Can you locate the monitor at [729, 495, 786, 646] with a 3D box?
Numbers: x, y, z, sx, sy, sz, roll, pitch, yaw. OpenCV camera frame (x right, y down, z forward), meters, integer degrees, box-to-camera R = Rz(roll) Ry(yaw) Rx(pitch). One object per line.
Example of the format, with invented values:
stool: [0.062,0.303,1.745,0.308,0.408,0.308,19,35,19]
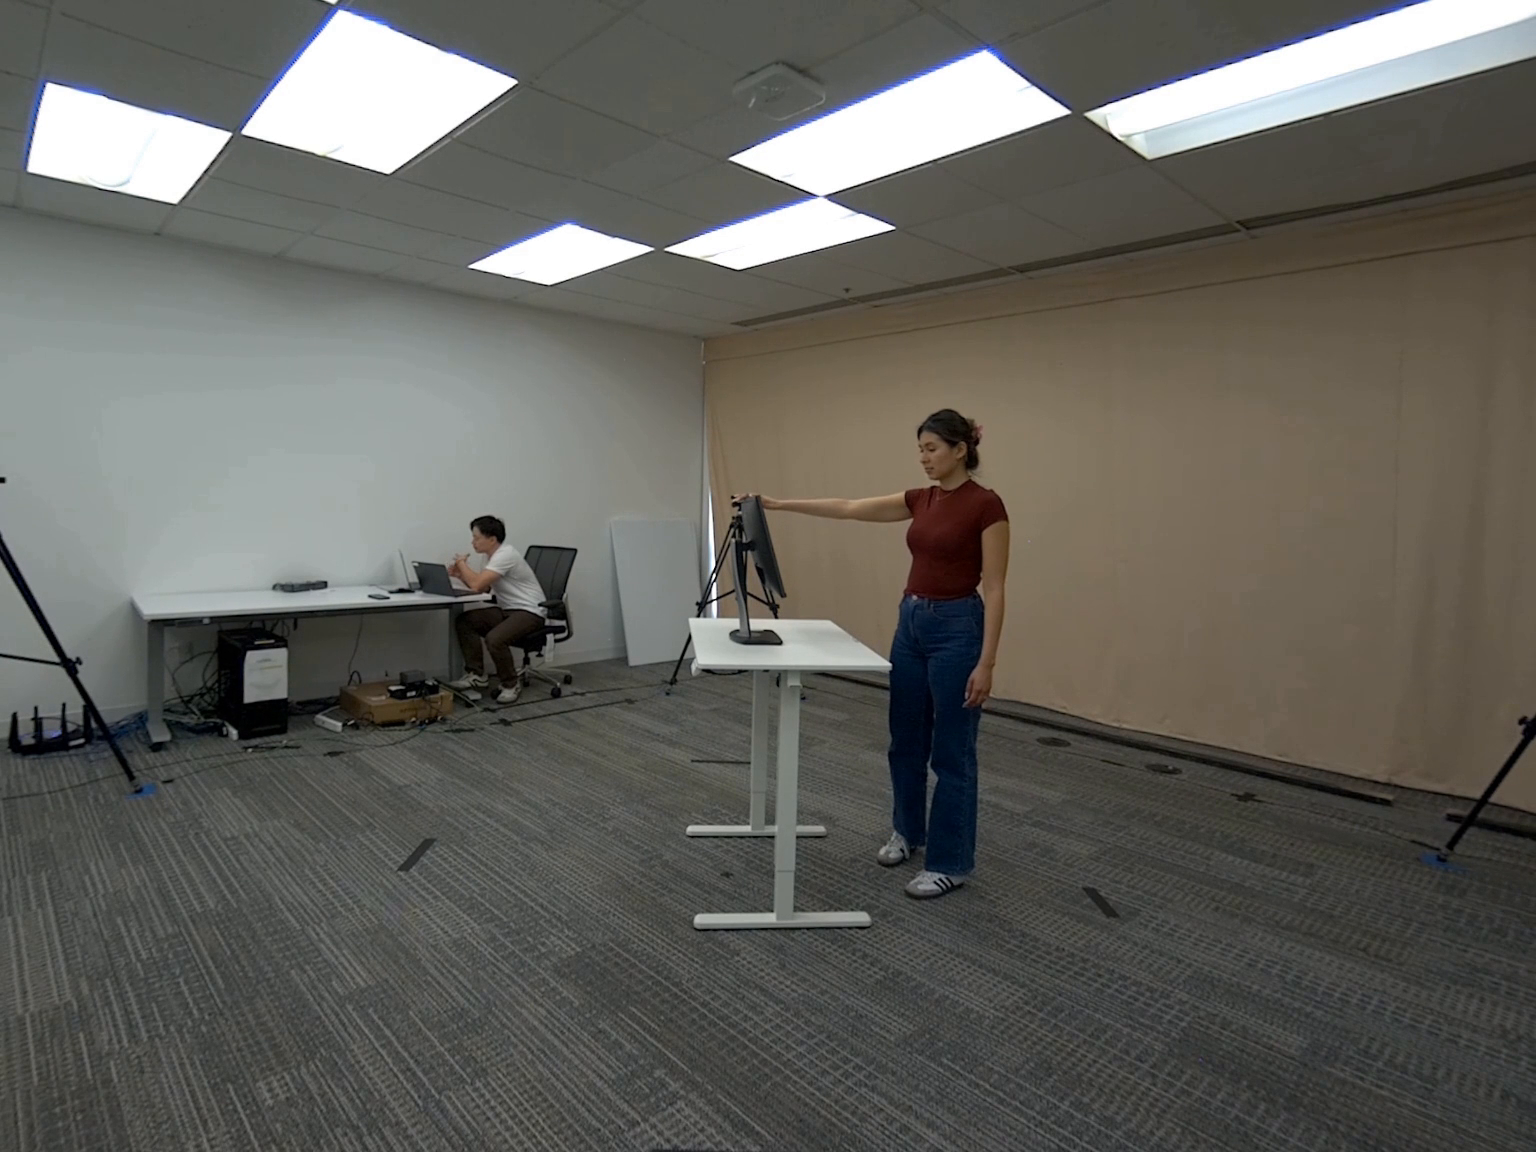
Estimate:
monitor: [-0.057,-0.023,3.035,0.186,0.521,0.543,-1,3,-9]
